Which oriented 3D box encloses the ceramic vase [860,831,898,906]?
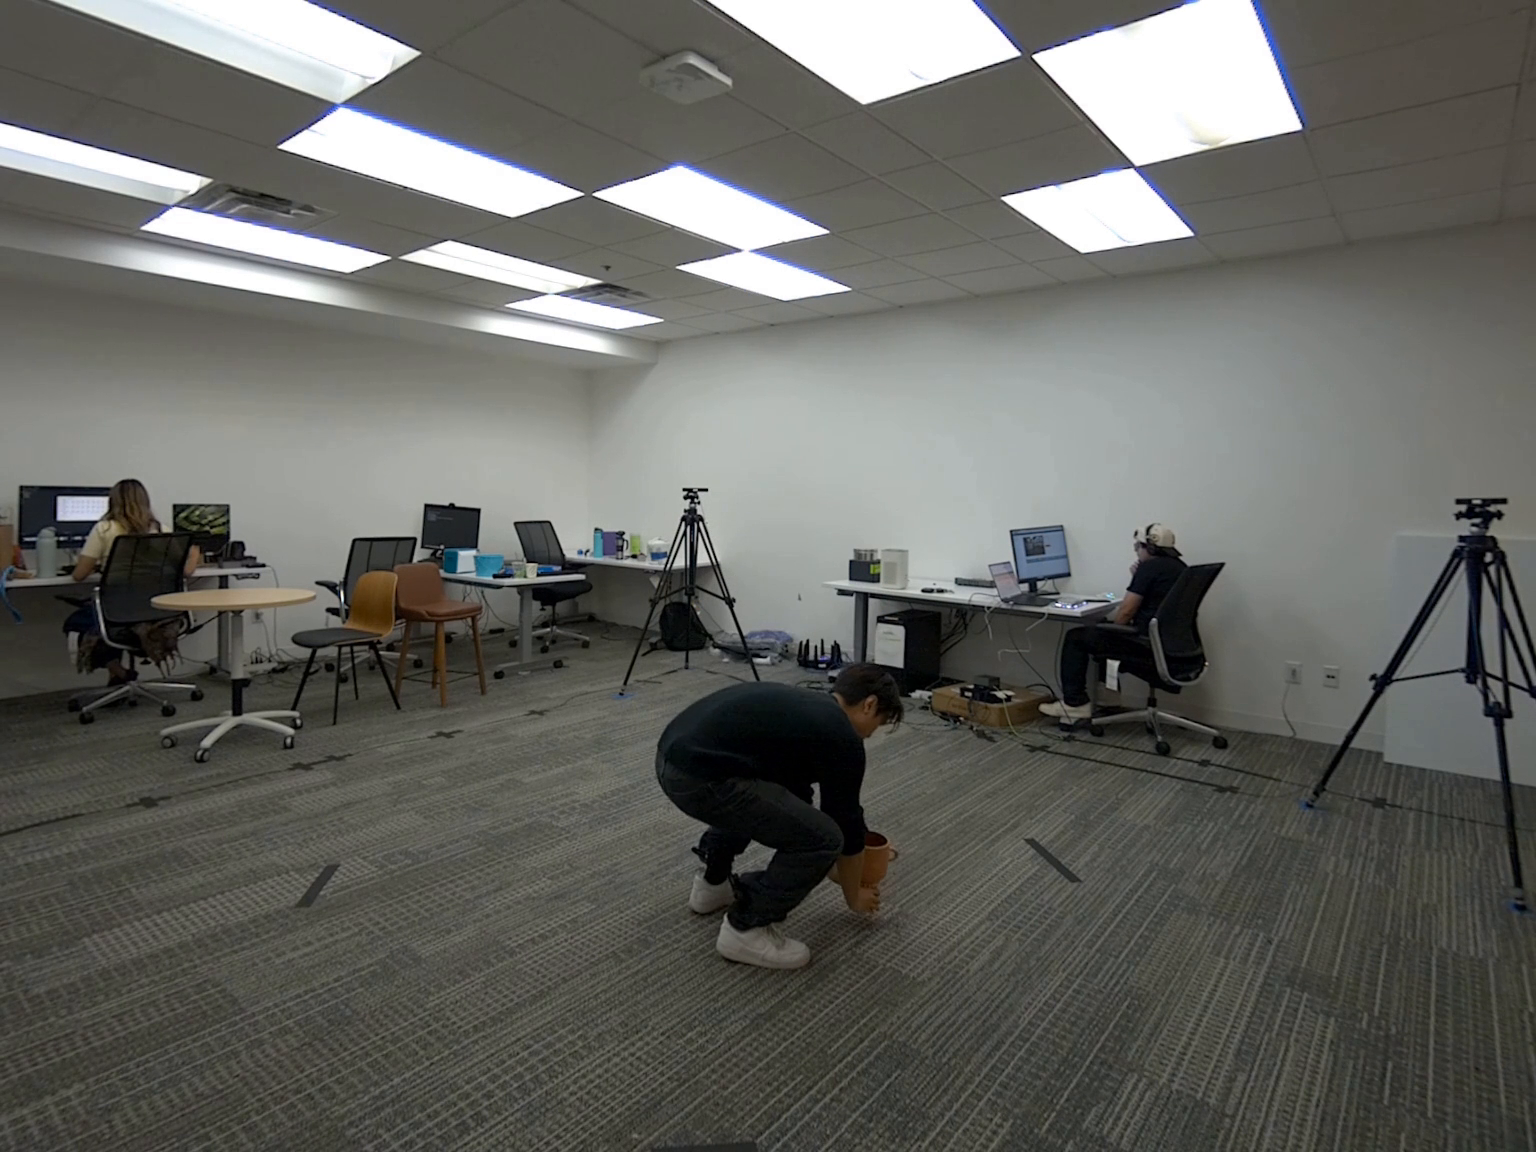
[{"bbox_3d":[0.317,0.946,2.762,0.164,0.219,0.130,8,5,34],"label":"ceramic vase"}]
